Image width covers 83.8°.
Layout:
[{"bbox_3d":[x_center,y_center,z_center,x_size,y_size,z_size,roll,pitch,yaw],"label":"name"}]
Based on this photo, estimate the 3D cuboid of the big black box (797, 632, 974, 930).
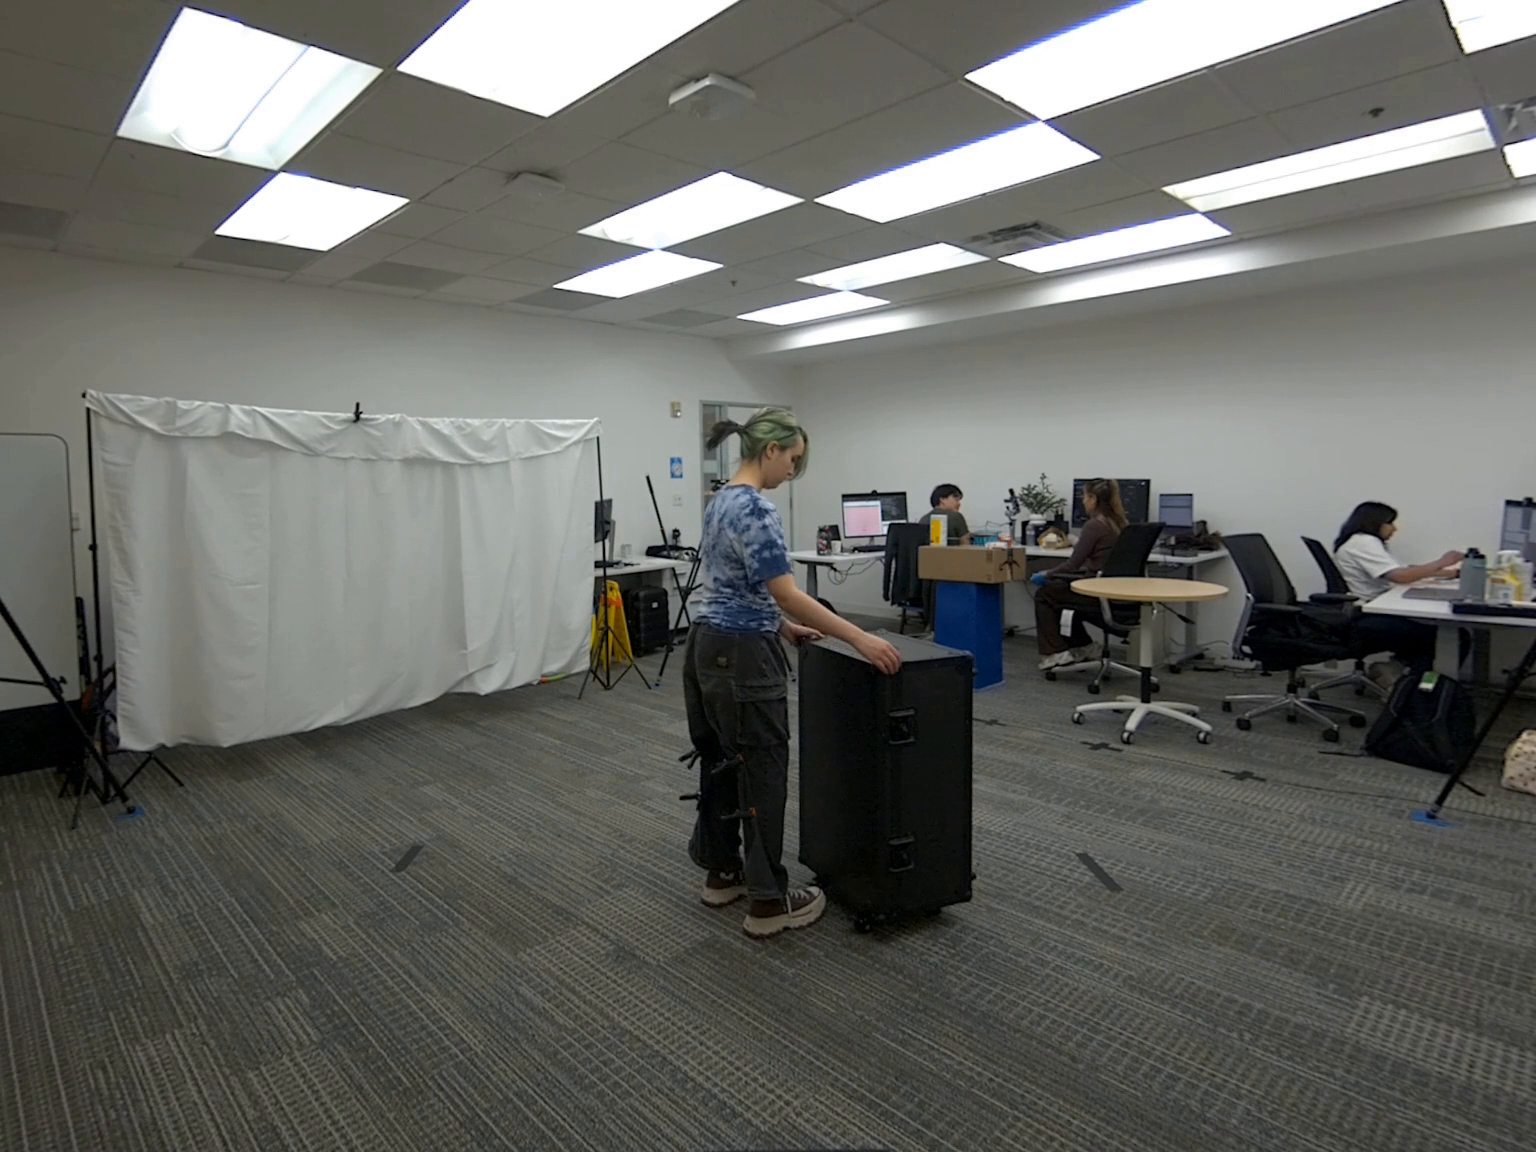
[{"bbox_3d":[0.381,0.652,2.806,0.388,0.859,0.534,-1,4,-26],"label":"big black box"}]
